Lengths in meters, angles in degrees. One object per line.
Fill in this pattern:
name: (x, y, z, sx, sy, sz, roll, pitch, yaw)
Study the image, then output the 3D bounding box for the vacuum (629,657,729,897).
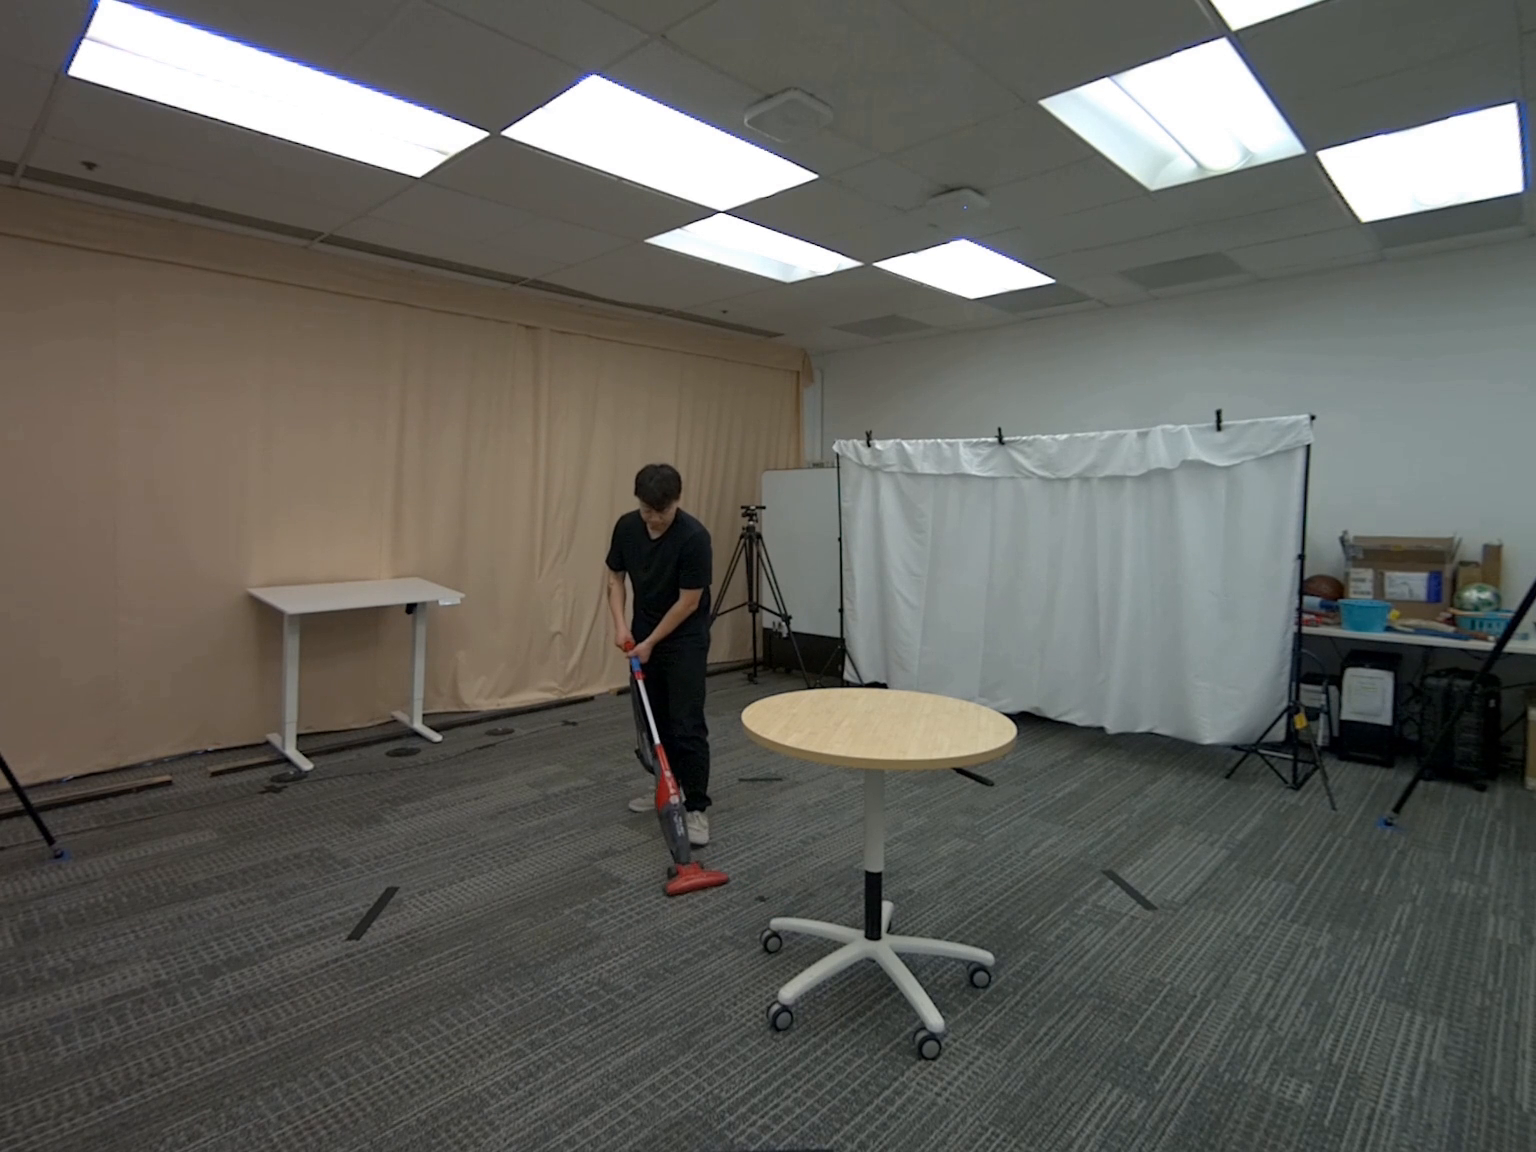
vacuum: (-0.446, 0.708, 3.386, 0.247, 1.078, 0.143, -5, -38, -25)
